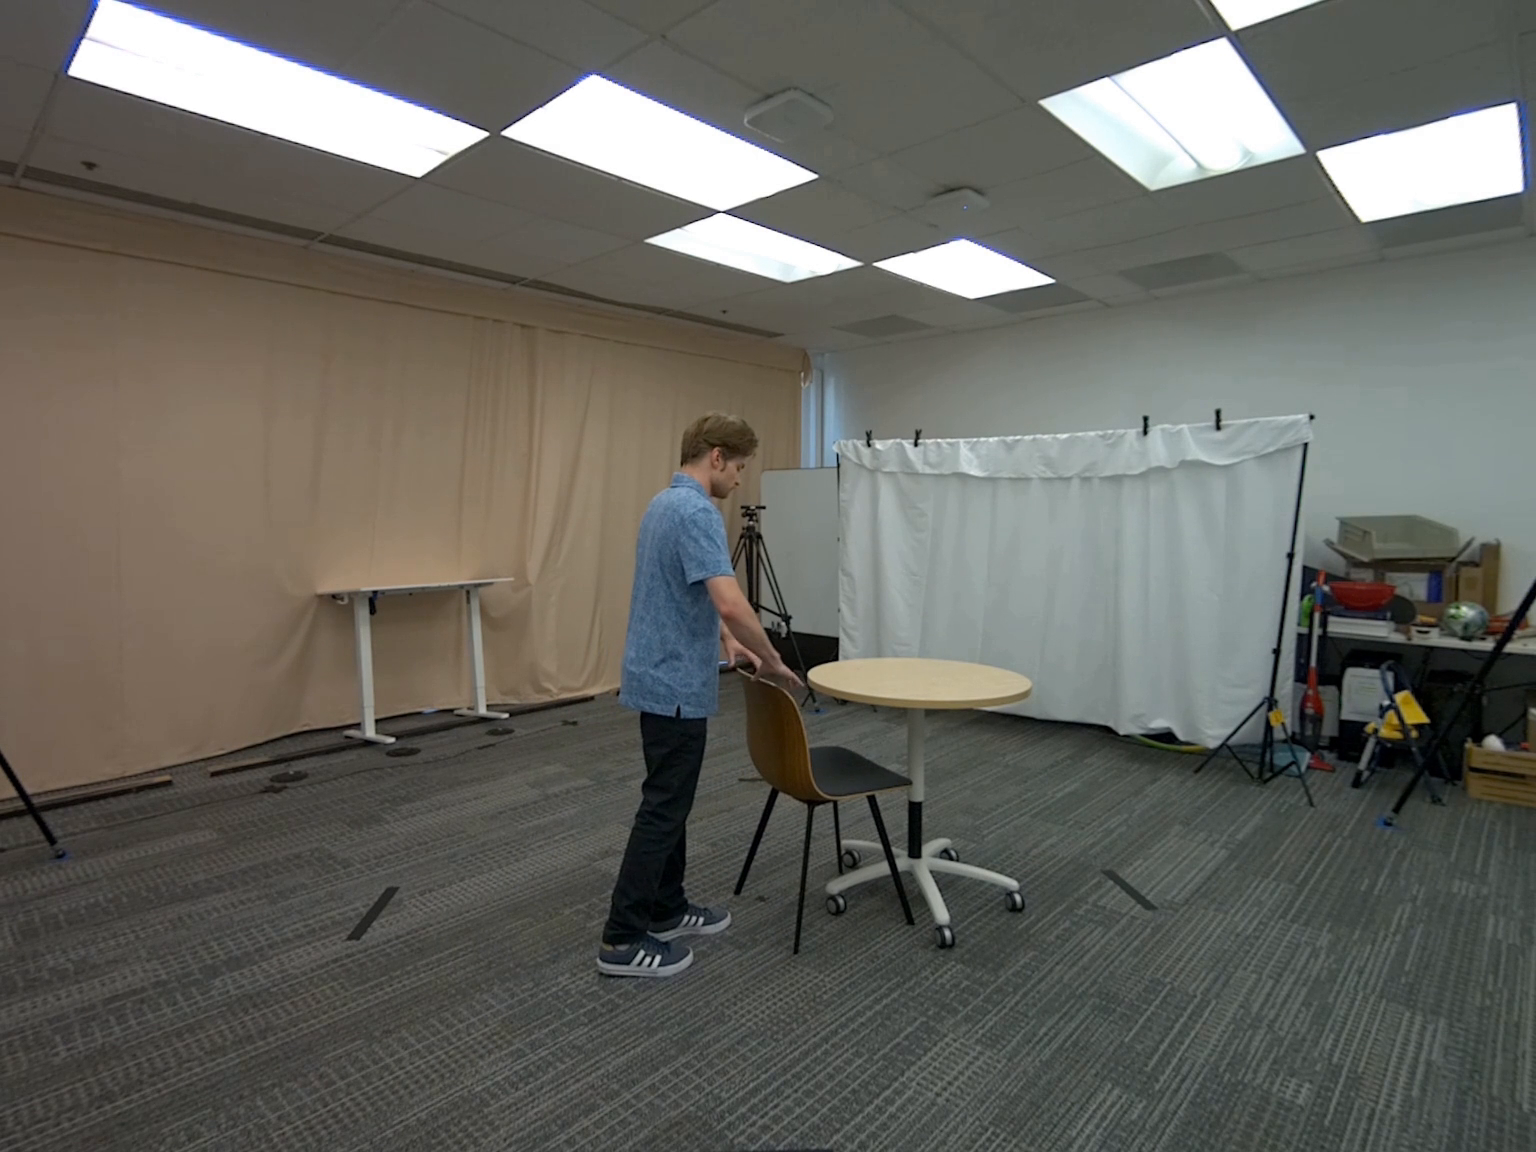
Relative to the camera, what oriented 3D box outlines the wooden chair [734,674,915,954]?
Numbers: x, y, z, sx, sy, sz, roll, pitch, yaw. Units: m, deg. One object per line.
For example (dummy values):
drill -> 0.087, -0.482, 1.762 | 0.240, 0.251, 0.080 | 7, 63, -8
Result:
wooden chair -> 0.190, 0.726, 2.877 | 0.511, 0.874, 0.491 | -6, 6, -25
